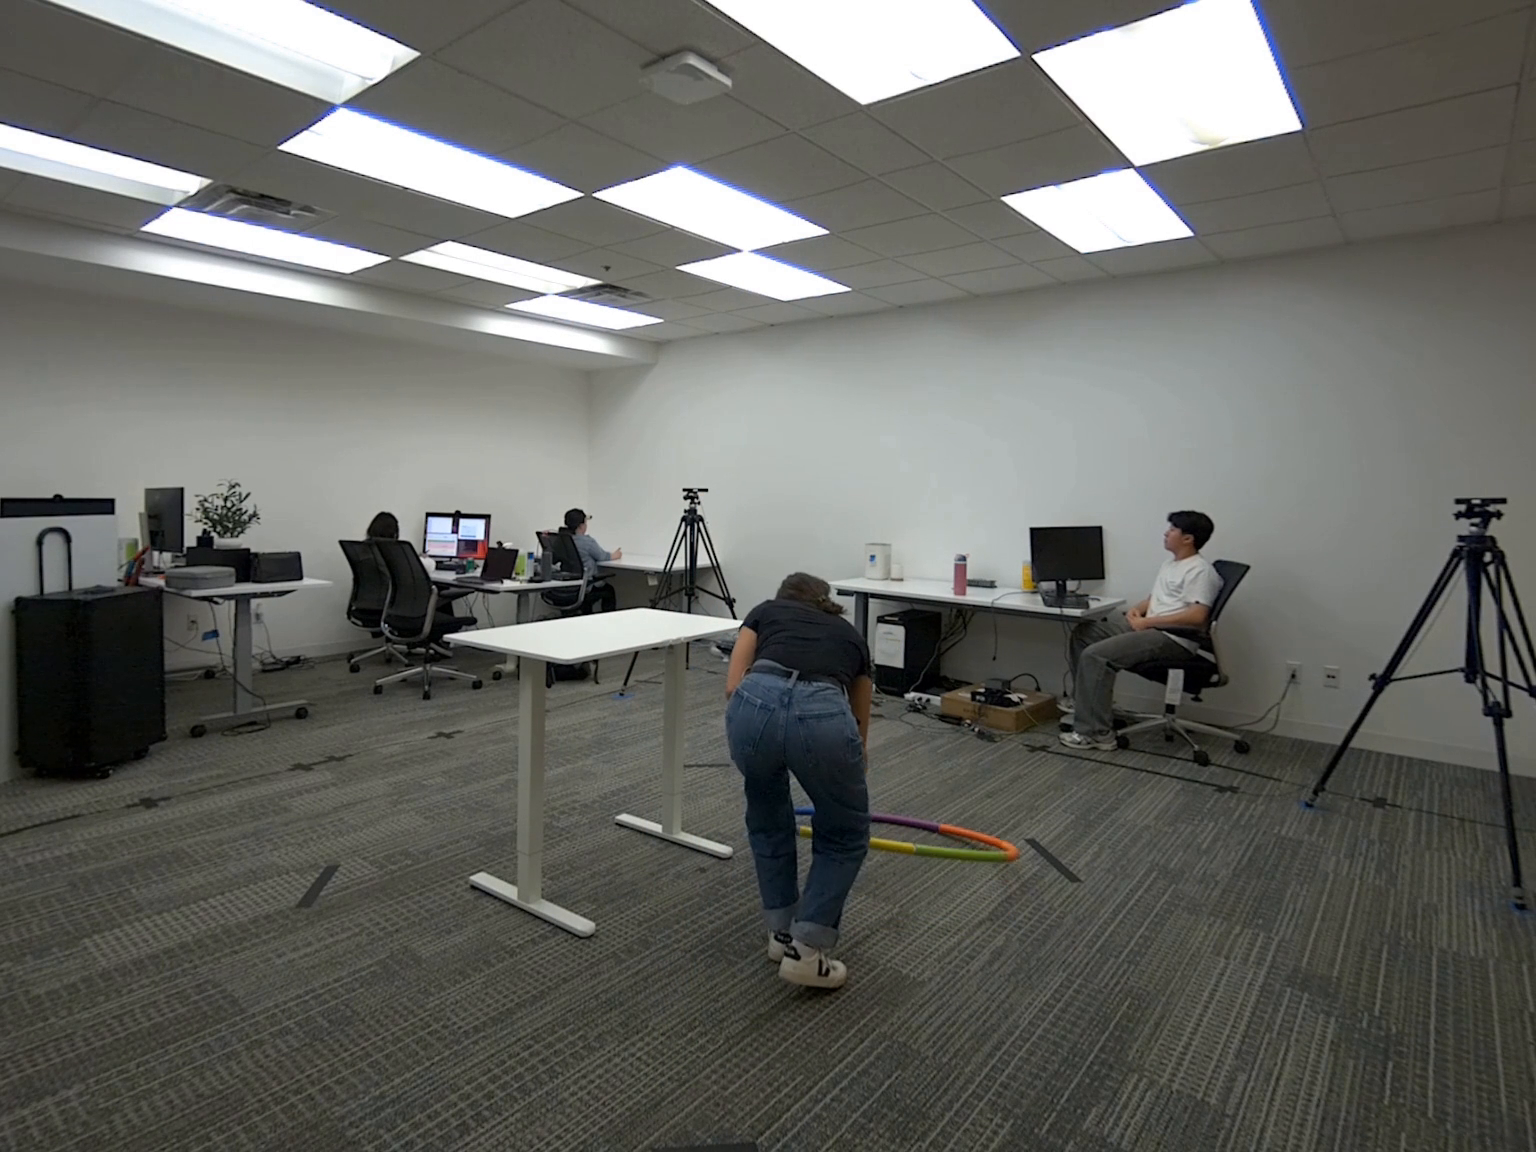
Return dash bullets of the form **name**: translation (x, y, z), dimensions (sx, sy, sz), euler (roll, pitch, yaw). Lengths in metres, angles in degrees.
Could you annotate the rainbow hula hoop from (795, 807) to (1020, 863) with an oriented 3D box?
- **rainbow hula hoop**: translation (0.414, 0.928, 3.152), dimensions (0.979, 0.036, 0.970), euler (7, -9, -1)
